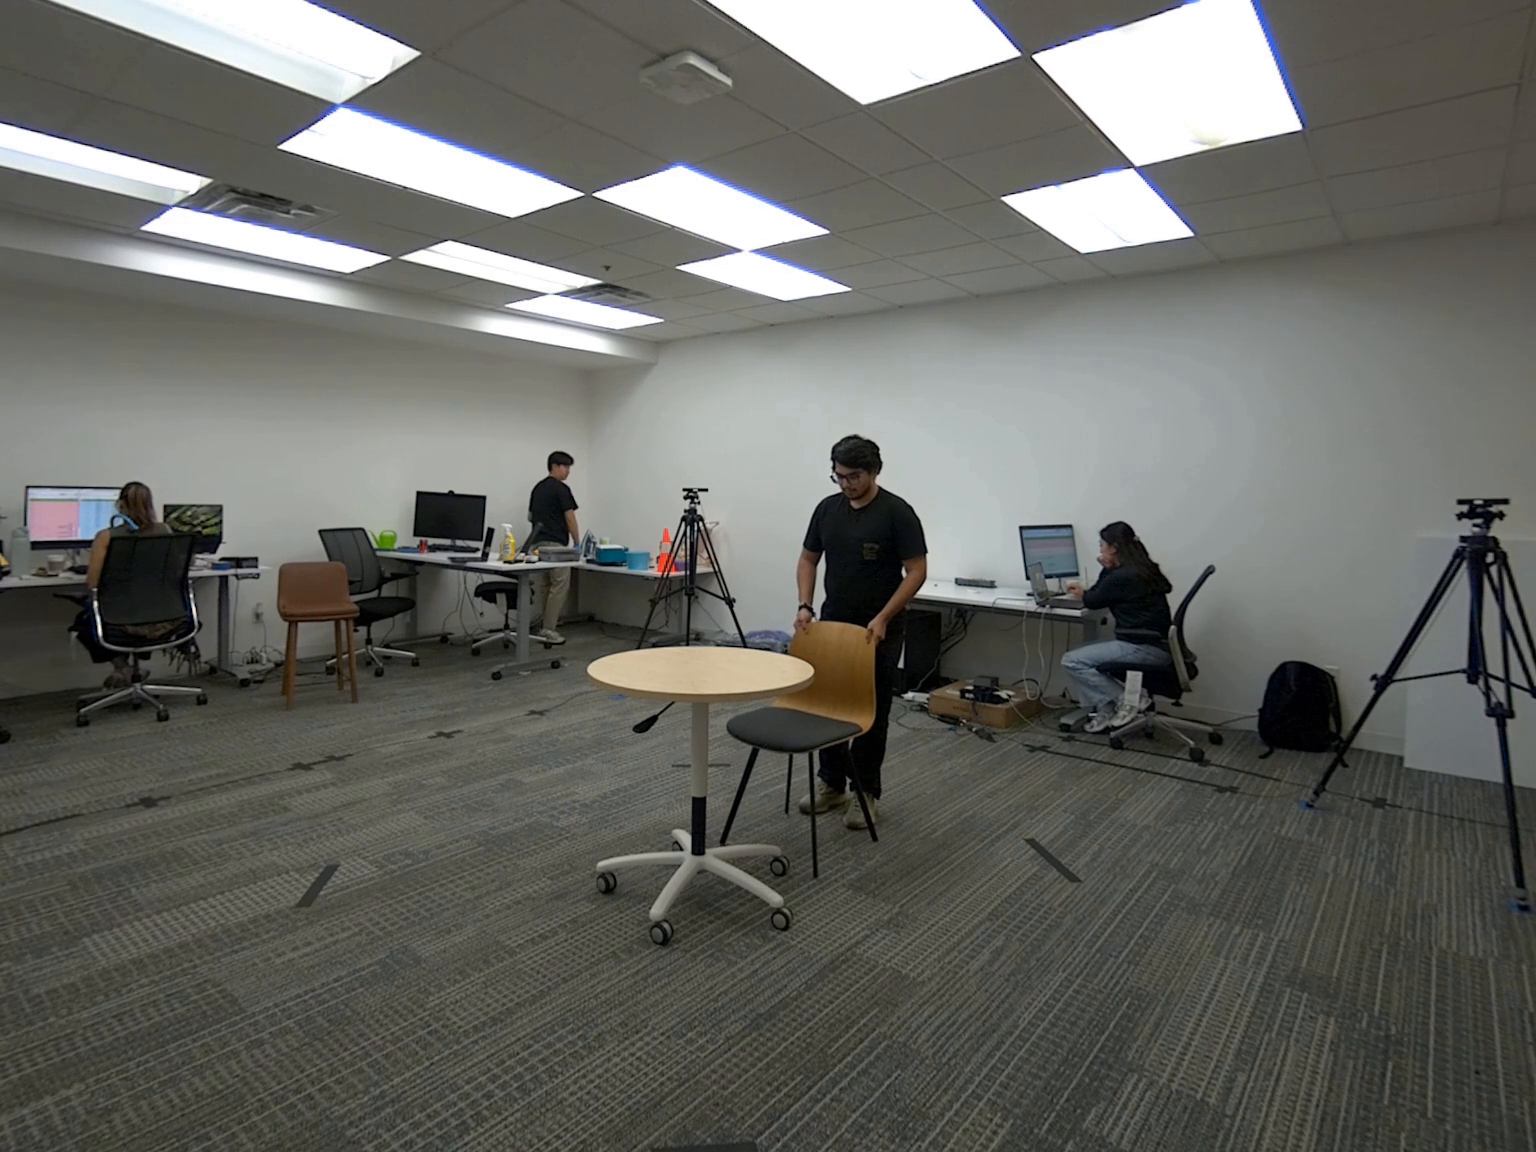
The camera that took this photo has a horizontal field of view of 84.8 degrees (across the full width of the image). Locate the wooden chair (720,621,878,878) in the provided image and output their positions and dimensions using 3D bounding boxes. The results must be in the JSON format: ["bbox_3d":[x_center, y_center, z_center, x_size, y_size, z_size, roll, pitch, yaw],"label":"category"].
[{"bbox_3d":[0.118,0.626,3.331,0.494,0.878,0.506,4,0,38],"label":"wooden chair"}]
